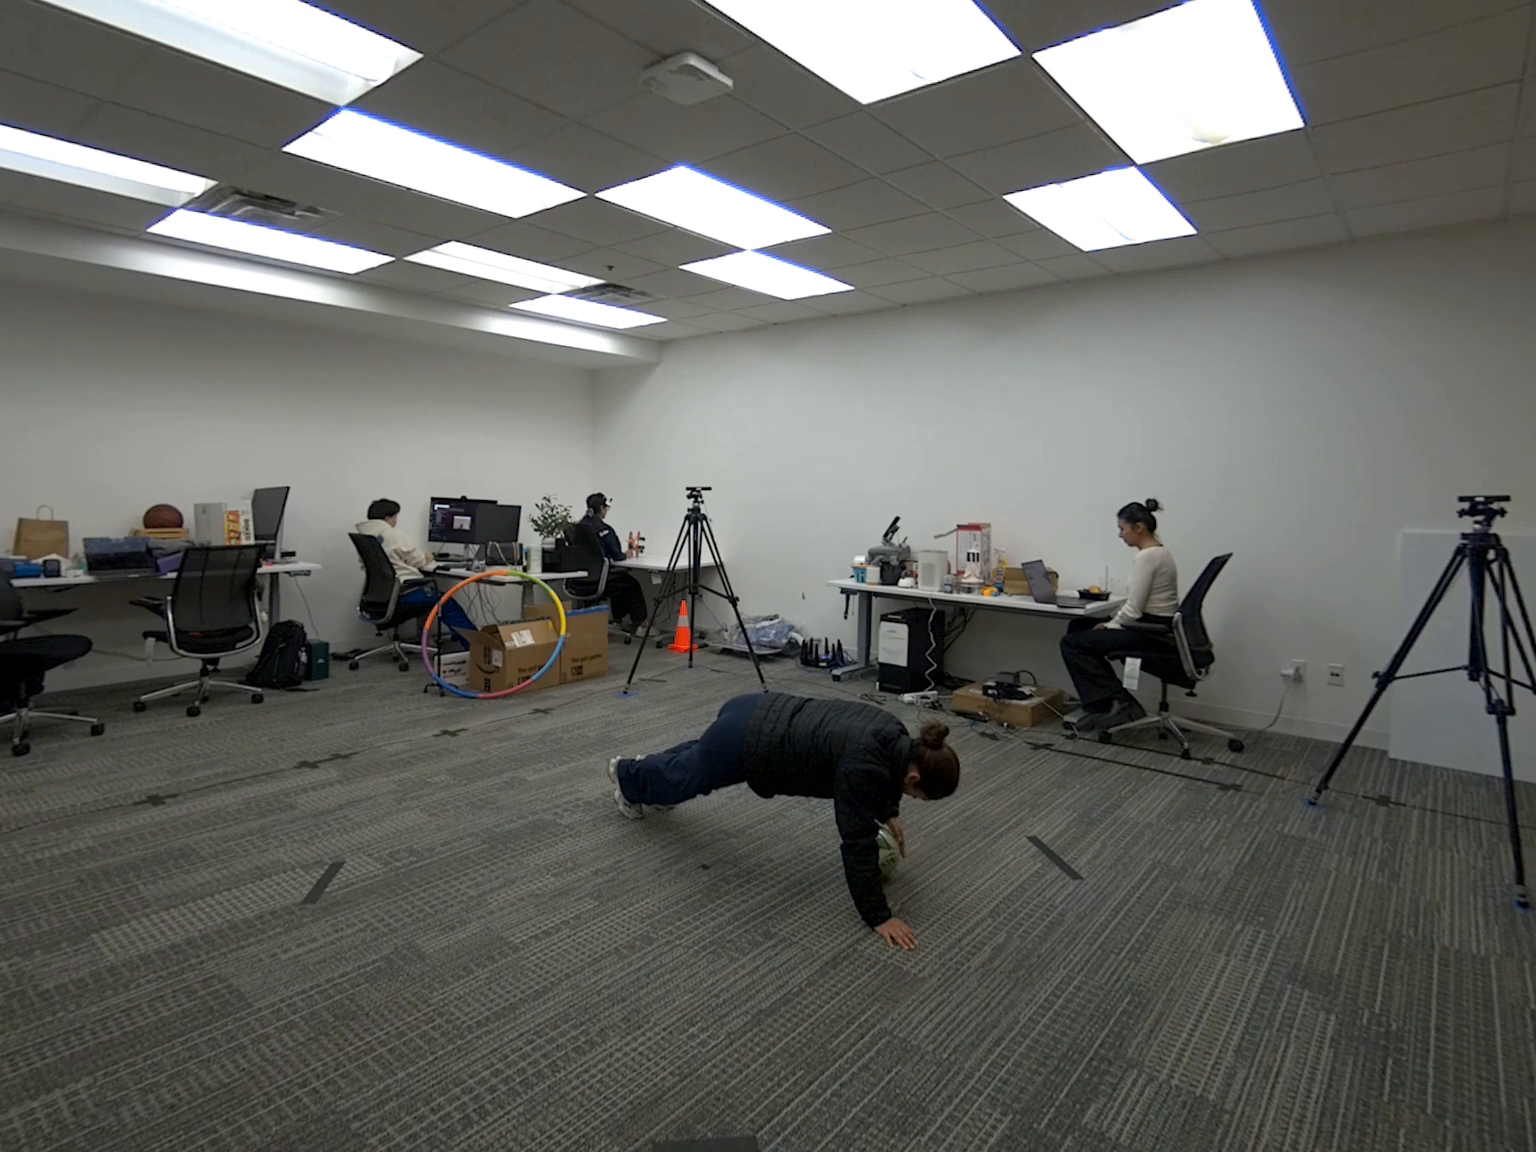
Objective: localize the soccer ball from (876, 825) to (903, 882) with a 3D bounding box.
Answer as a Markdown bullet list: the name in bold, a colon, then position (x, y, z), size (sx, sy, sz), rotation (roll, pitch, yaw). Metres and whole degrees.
- **soccer ball**: position (0.374, 0.985, 3.056), size (0.187, 0.187, 0.188), rotation (1, 4, -2)
